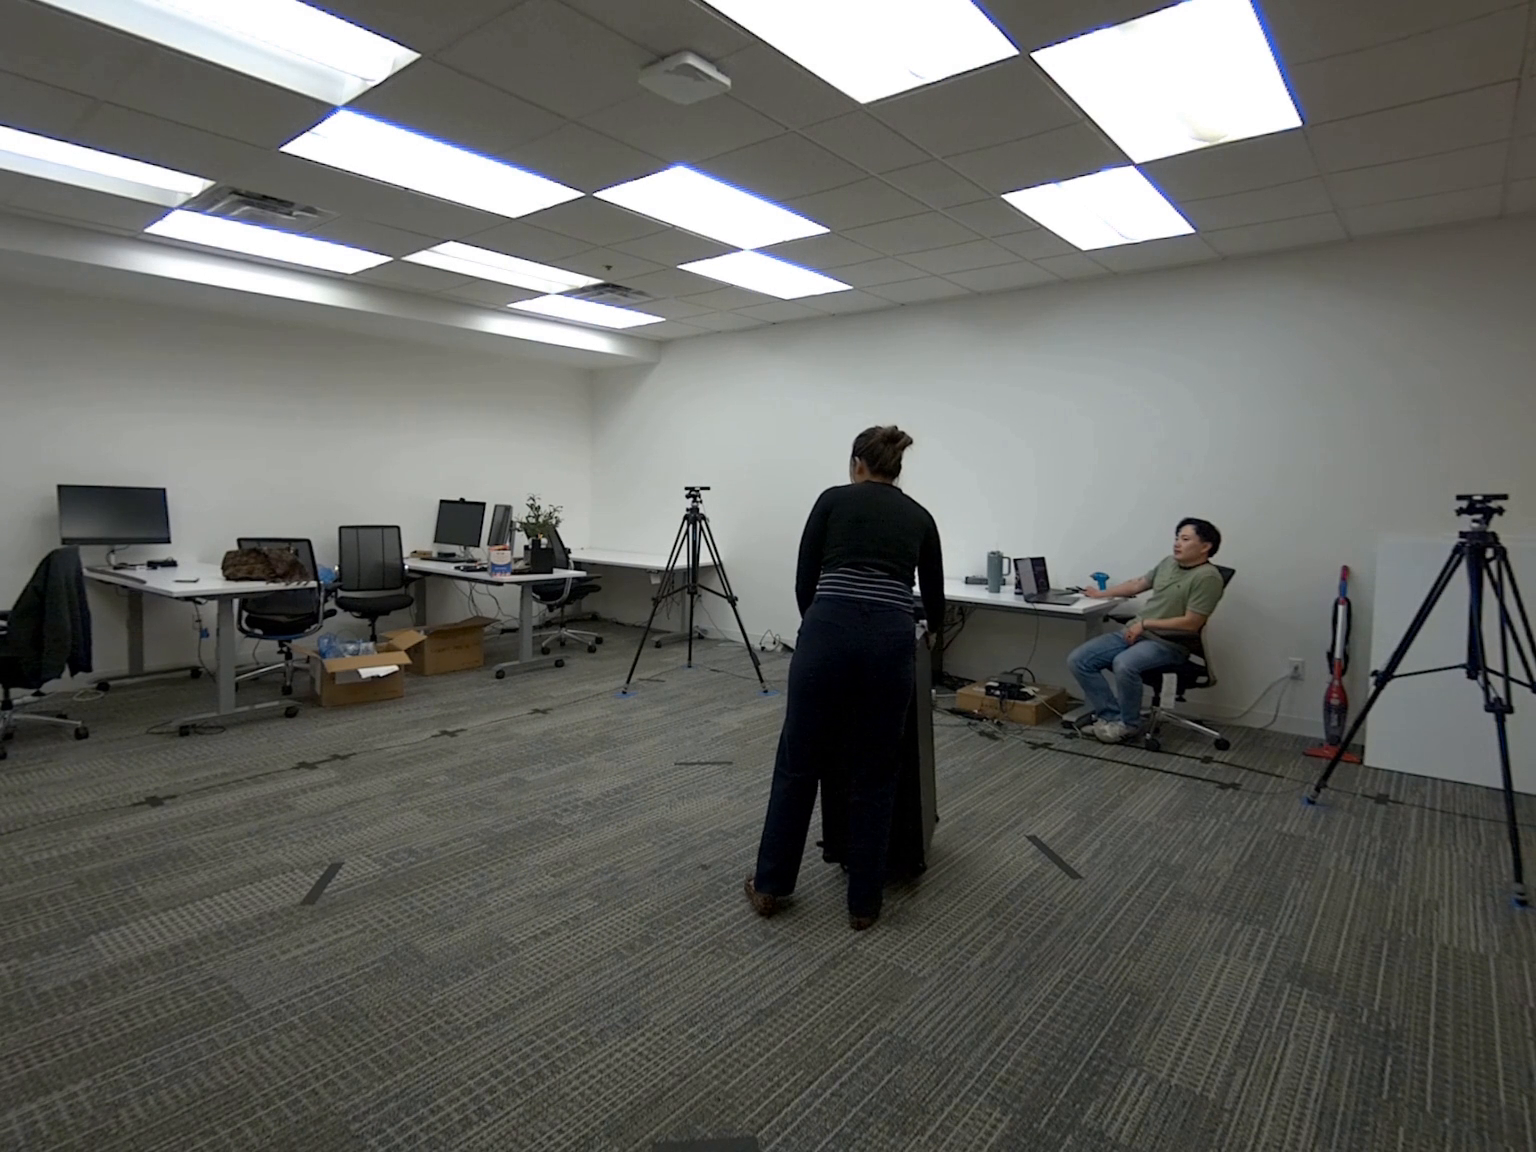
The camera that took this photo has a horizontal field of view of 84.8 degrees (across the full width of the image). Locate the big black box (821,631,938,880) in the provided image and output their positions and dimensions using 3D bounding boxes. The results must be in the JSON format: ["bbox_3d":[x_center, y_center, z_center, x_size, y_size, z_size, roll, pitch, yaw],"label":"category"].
[{"bbox_3d":[0.397,0.642,3.181,0.404,0.858,0.514,-3,4,18],"label":"big black box"}]
